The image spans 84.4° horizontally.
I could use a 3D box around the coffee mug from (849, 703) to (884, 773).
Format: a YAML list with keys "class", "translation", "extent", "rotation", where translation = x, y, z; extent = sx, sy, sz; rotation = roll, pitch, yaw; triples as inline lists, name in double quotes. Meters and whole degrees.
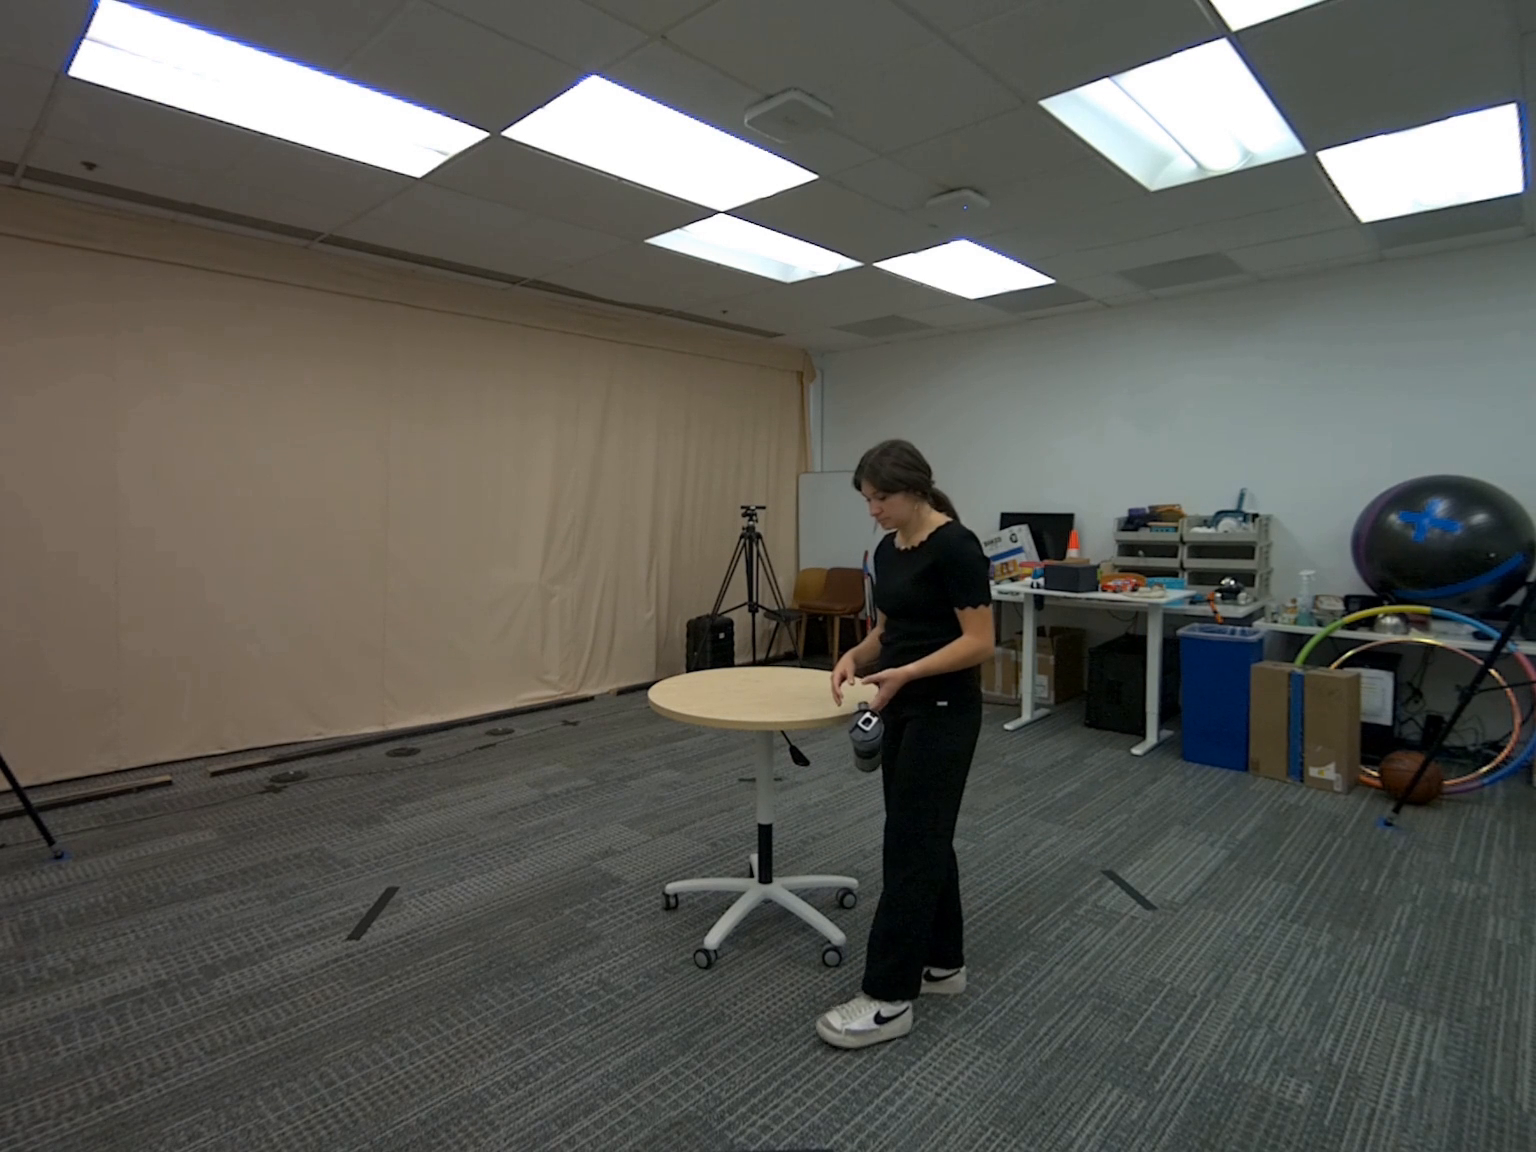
- class: "coffee mug"
  translation: [0.275, 0.431, 2.161]
  extent: [0.124, 0.197, 0.088]
  rotation: [4, 46, 19]
